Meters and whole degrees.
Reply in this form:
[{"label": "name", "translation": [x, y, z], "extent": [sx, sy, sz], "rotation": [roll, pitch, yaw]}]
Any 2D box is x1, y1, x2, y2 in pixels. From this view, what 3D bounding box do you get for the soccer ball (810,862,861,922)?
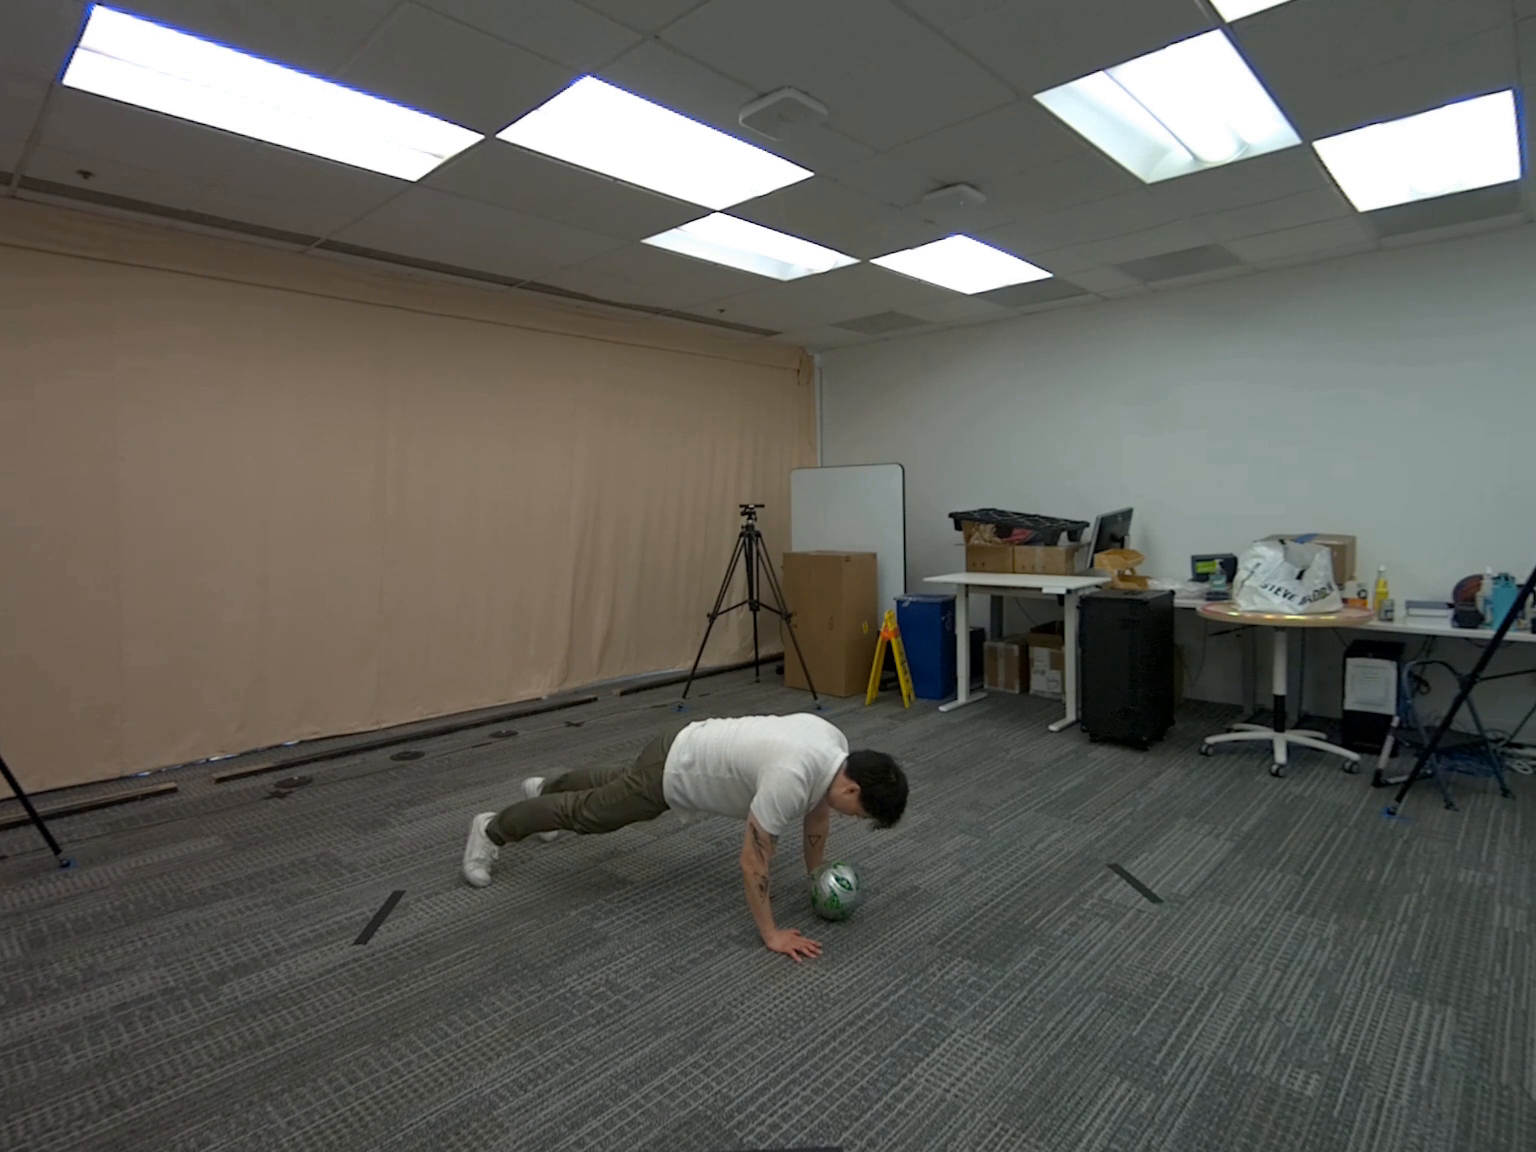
[{"label": "soccer ball", "translation": [0.232, 1.053, 2.833], "extent": [0.187, 0.187, 0.188], "rotation": [-1, 4, -2]}]
